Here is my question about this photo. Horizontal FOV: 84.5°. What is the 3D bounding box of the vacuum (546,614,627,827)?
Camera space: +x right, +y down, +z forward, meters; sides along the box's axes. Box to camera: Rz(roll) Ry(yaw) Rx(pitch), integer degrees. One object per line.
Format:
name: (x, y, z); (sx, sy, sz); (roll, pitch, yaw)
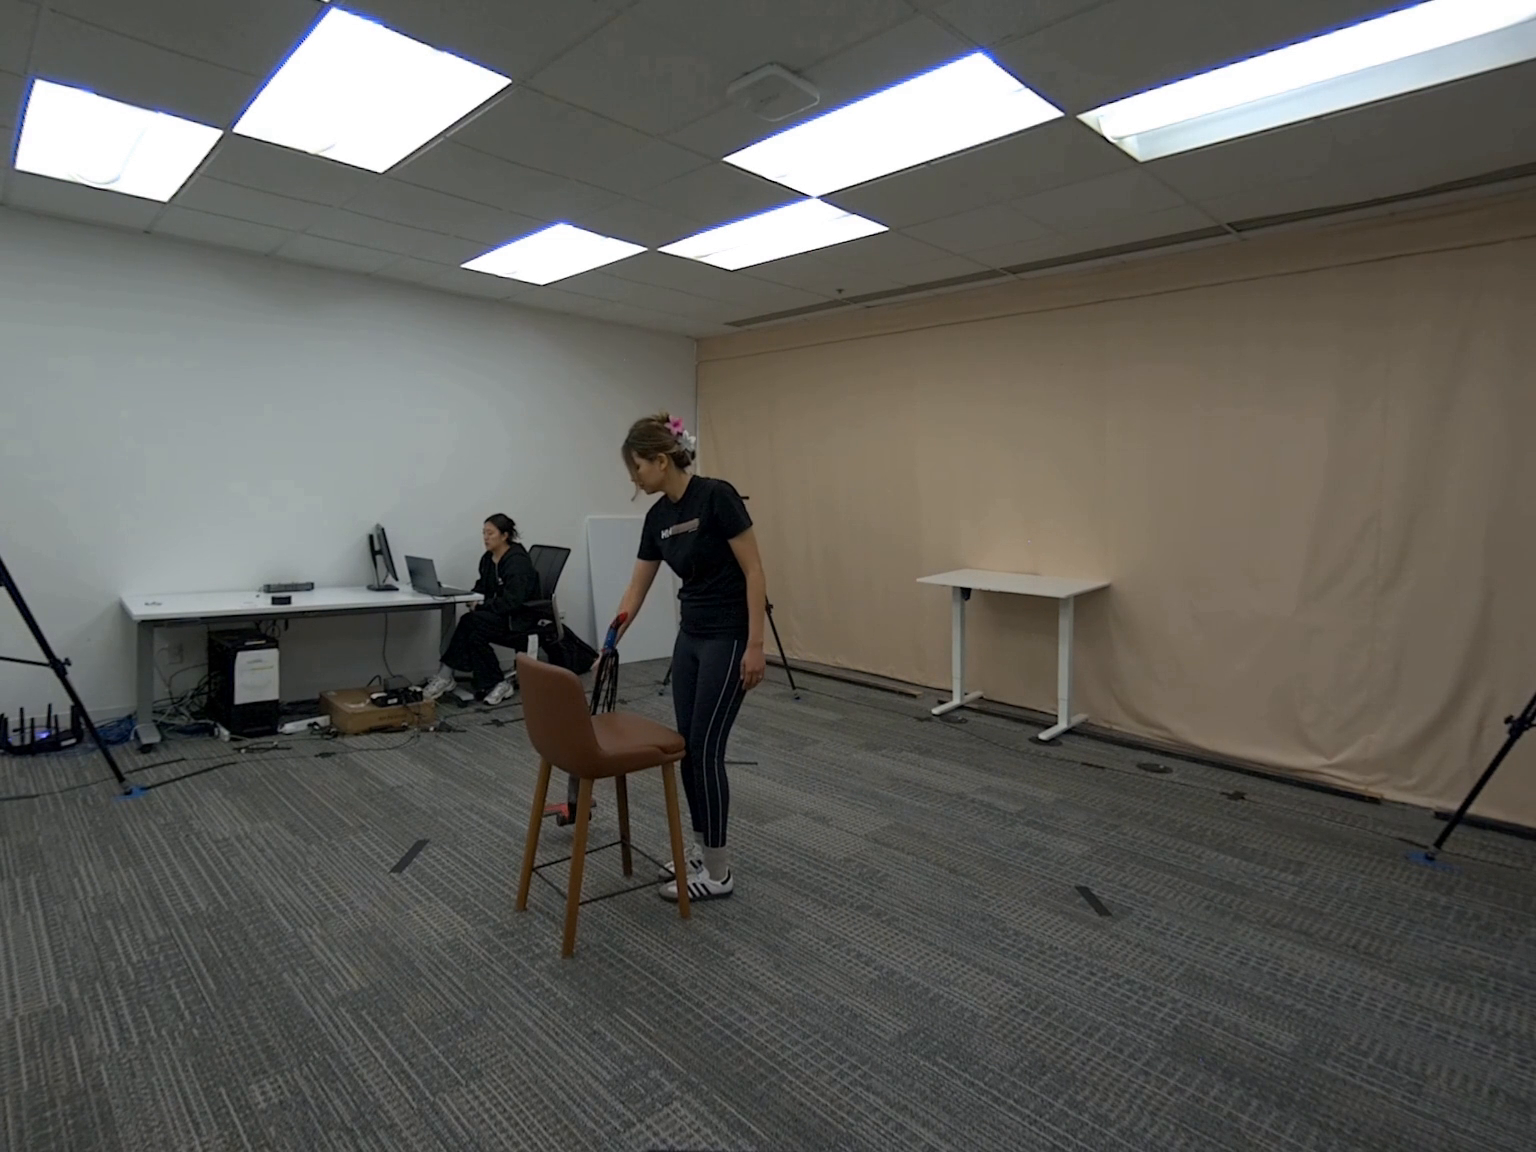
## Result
vacuum: (-0.667, 0.547, 3.149); (0.247, 1.037, 0.148); (-2, 33, -31)
